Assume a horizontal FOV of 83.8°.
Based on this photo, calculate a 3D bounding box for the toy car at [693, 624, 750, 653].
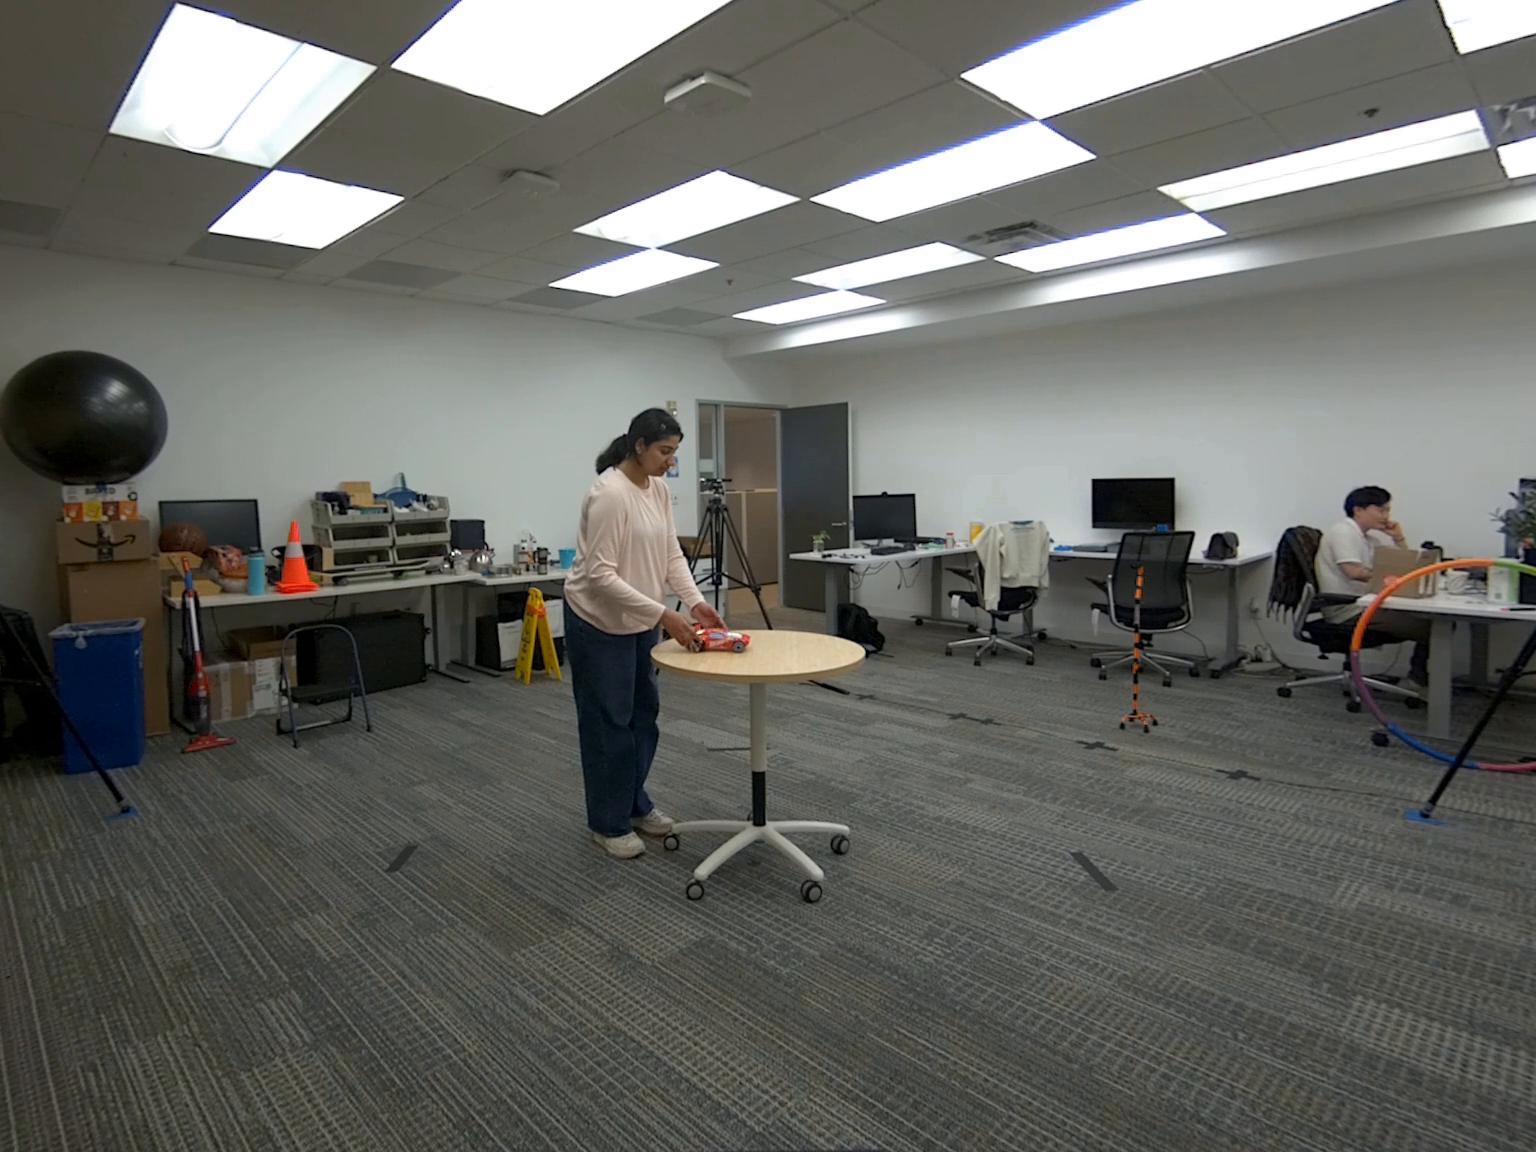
[{"bbox_3d":[-0.192,0.232,3.067,0.255,0.083,0.130,11,7,2],"label":"toy car"}]
